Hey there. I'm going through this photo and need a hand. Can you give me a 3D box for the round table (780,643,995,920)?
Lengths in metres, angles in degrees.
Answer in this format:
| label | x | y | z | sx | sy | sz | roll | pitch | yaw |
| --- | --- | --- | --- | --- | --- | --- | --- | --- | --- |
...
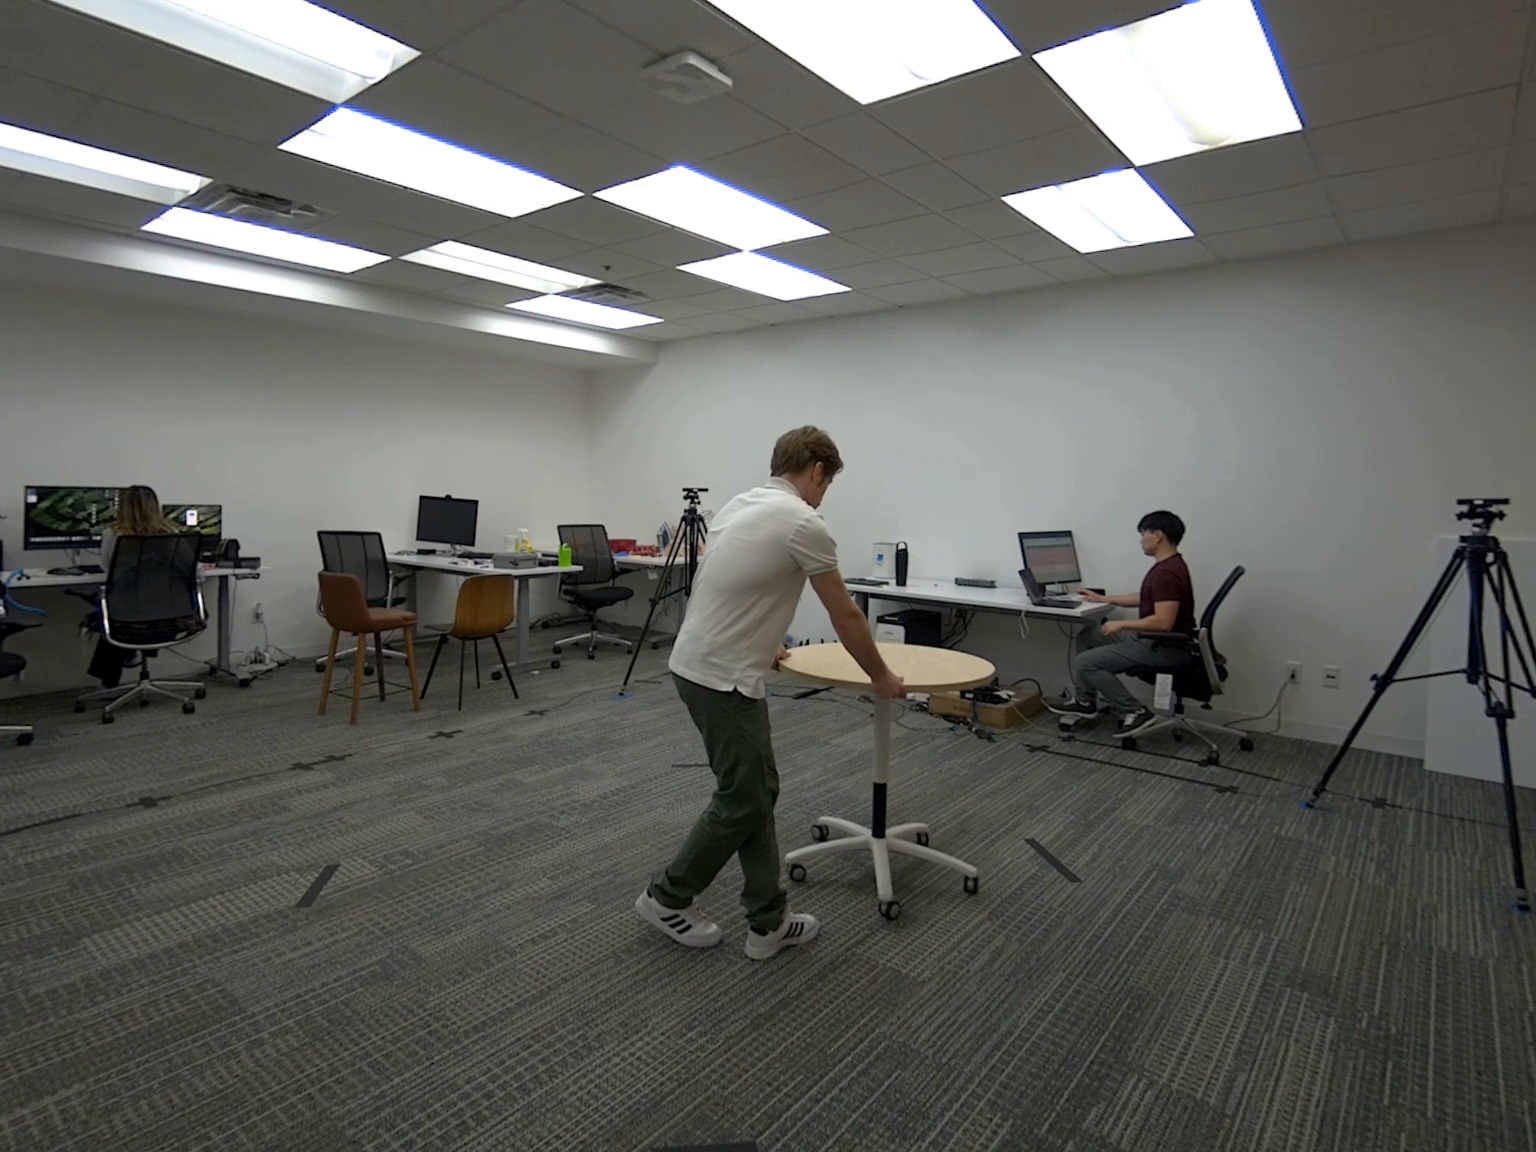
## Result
| label | x | y | z | sx | sy | sz | roll | pitch | yaw |
| --- | --- | --- | --- | --- | --- | --- | --- | --- | --- |
| round table | 0.394 | 0.692 | 3.079 | 0.784 | 0.784 | 0.789 | 1 | 4 | -2 |
